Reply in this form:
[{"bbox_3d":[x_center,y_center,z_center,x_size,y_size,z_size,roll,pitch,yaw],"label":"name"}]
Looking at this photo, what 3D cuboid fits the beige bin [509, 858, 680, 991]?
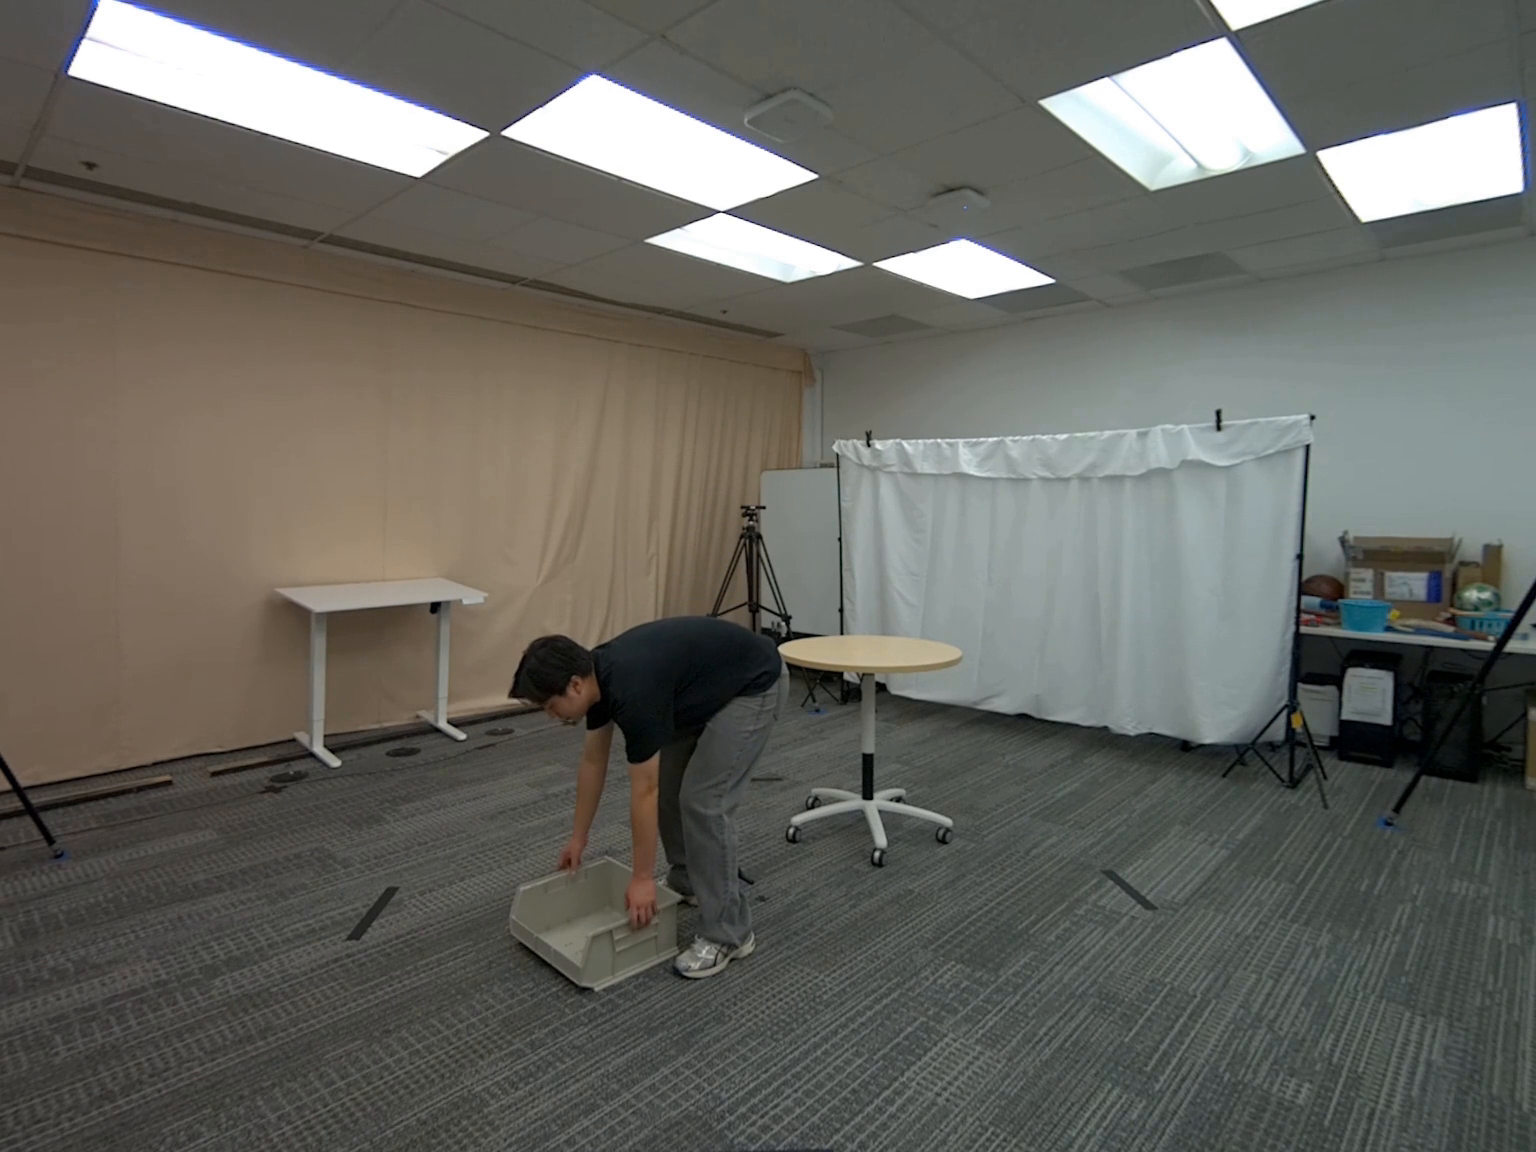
[{"bbox_3d":[-0.546,1.087,2.649,0.366,0.188,0.436,-3,5,-44],"label":"beige bin"}]
